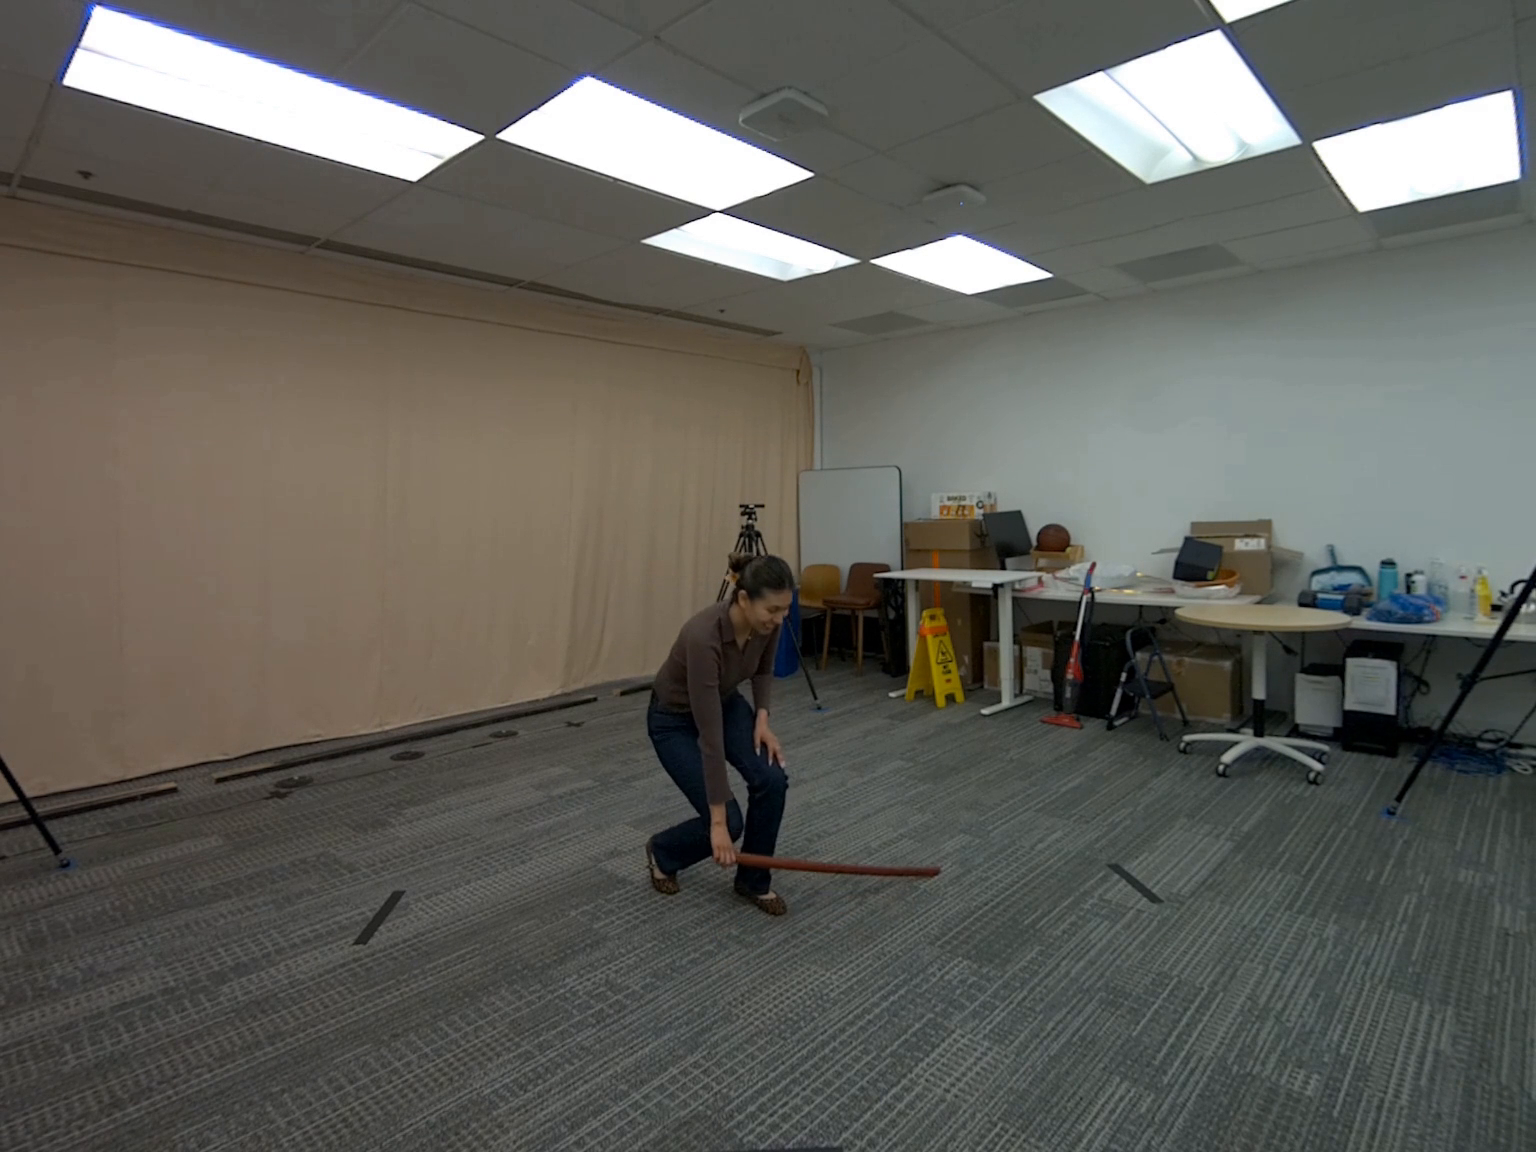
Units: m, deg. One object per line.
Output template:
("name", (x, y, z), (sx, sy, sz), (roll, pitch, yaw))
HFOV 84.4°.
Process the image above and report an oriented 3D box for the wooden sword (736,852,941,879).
("wooden sword", (0.266, 1.008, 2.903), (0.991, 0.051, 0.025), (14, 15, -34))
